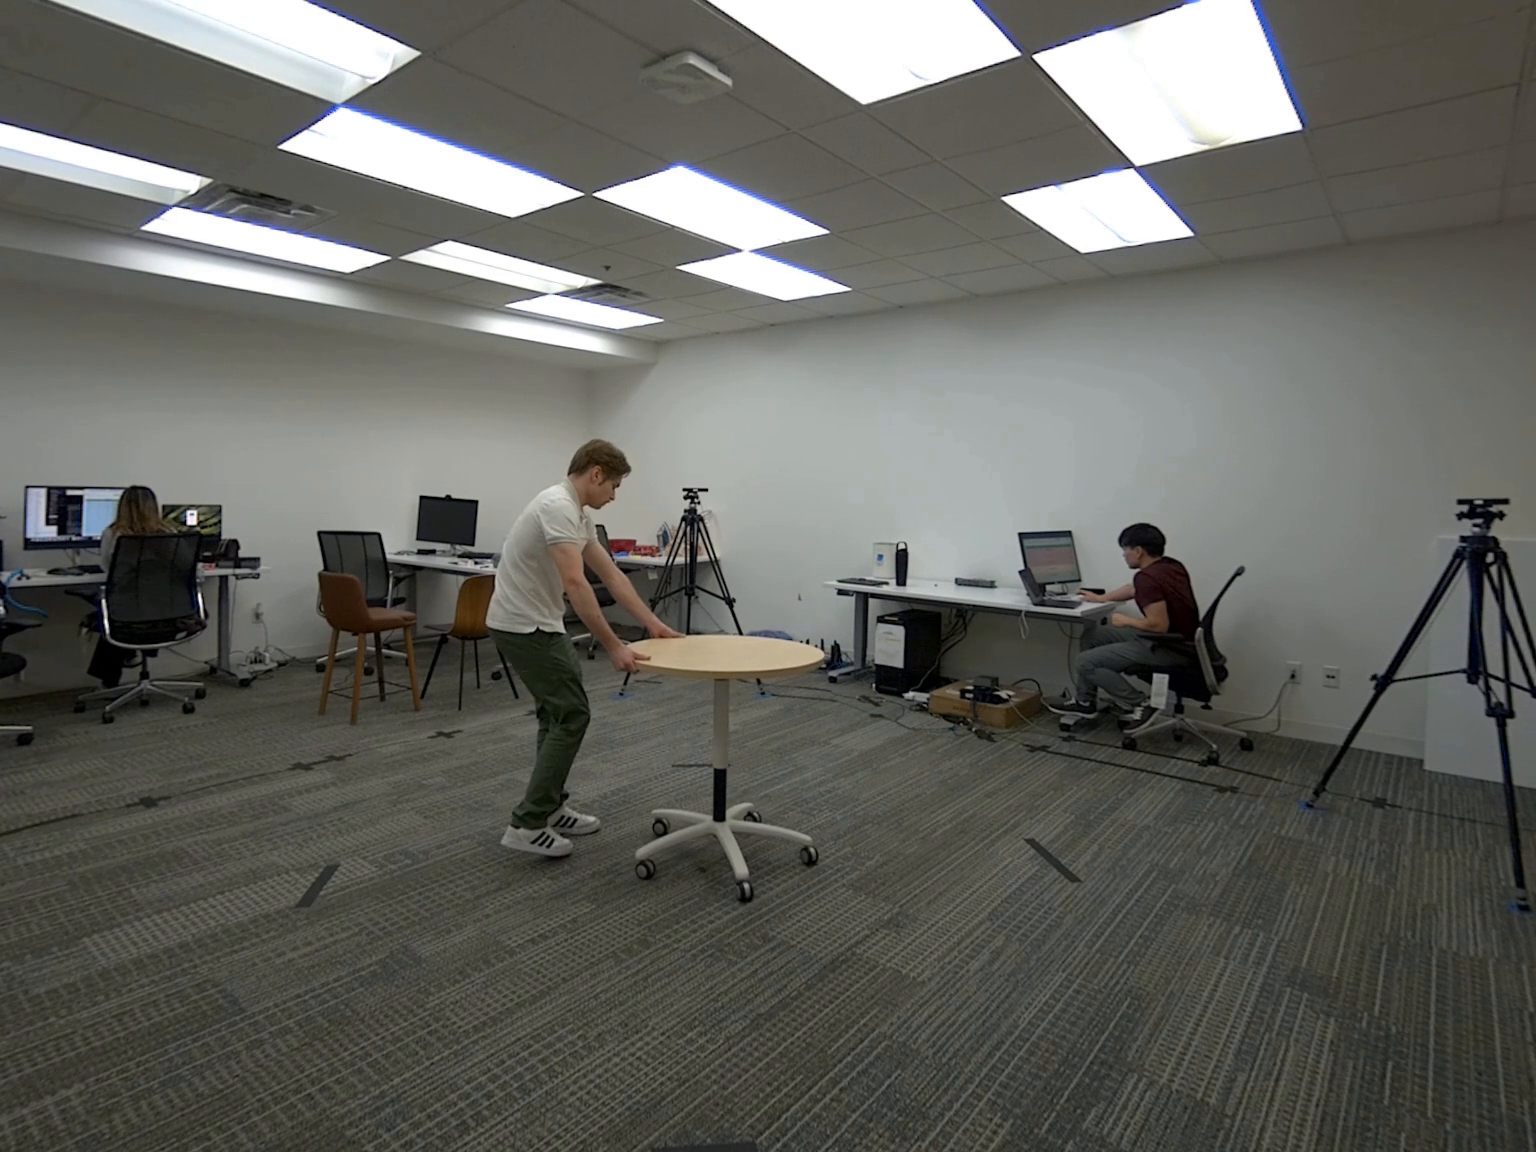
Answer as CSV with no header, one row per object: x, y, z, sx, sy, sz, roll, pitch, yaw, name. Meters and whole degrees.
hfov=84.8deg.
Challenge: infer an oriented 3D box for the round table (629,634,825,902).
-0.200,0.668,3.199,0.784,0.785,0.788,1,3,-2,round table
